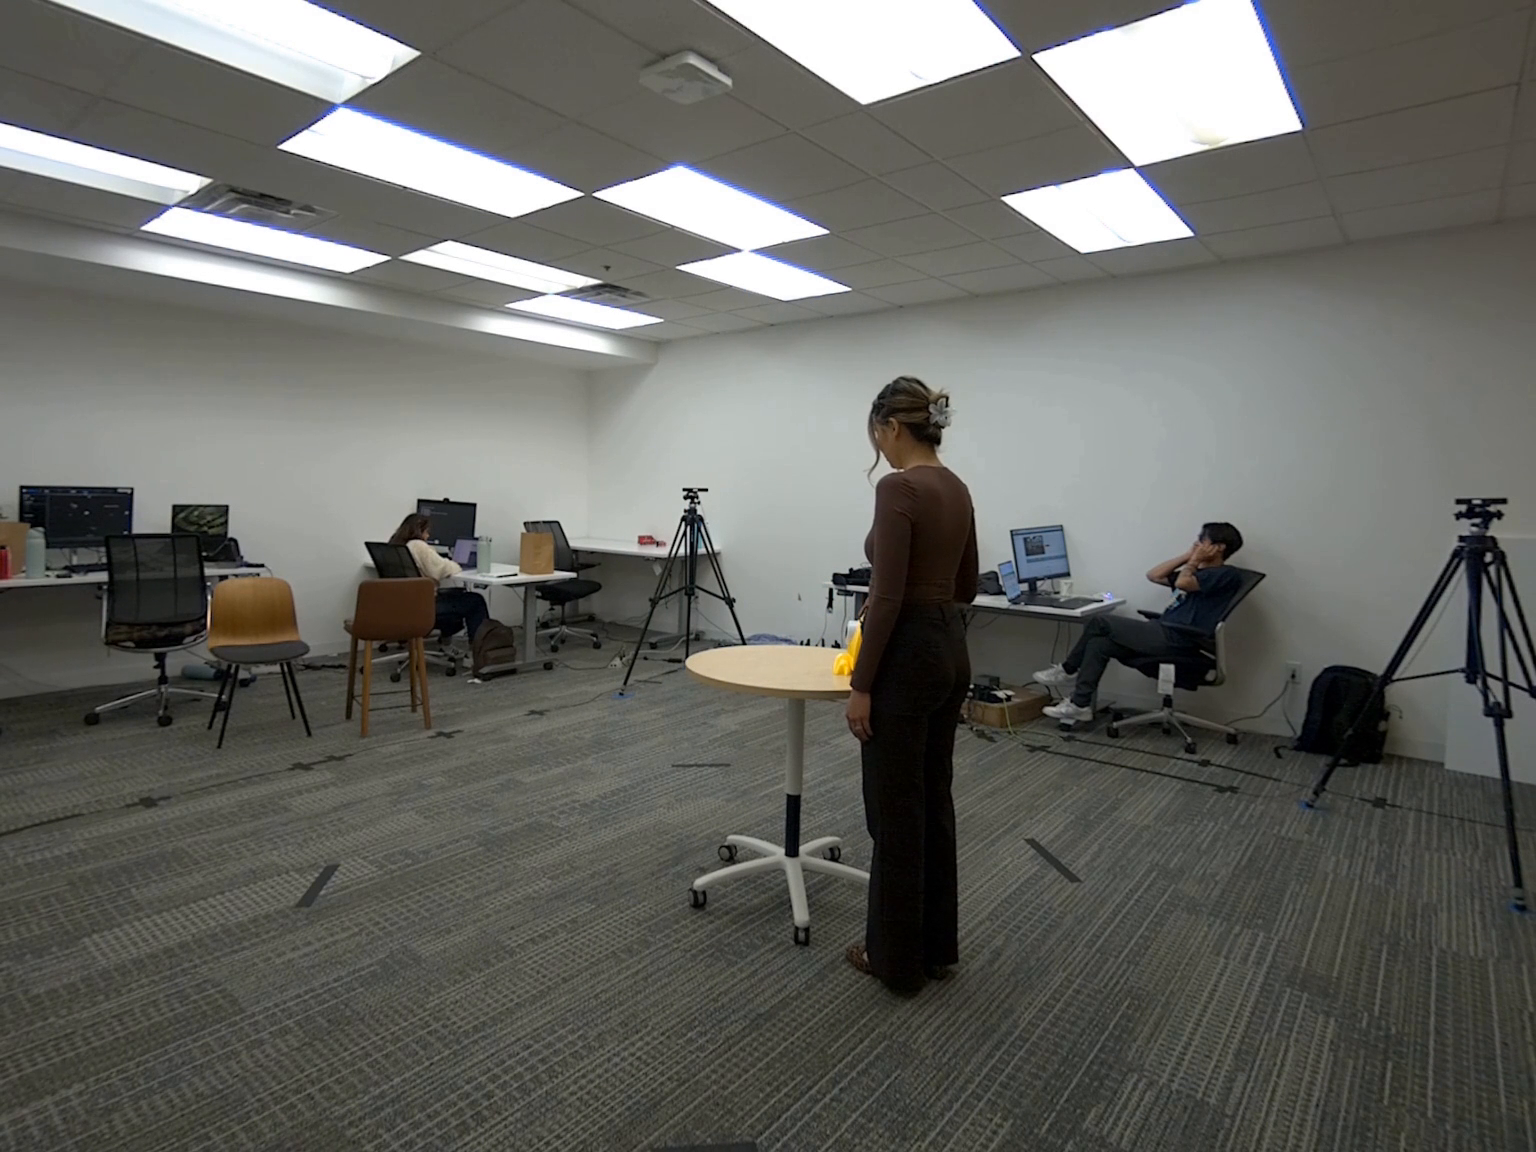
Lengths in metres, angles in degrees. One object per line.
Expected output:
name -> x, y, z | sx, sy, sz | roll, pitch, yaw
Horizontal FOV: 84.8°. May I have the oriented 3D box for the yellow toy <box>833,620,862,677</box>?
yellow toy -> 0.314, 0.203, 2.777 | 0.211, 0.230, 0.188 | 4, 5, 32
